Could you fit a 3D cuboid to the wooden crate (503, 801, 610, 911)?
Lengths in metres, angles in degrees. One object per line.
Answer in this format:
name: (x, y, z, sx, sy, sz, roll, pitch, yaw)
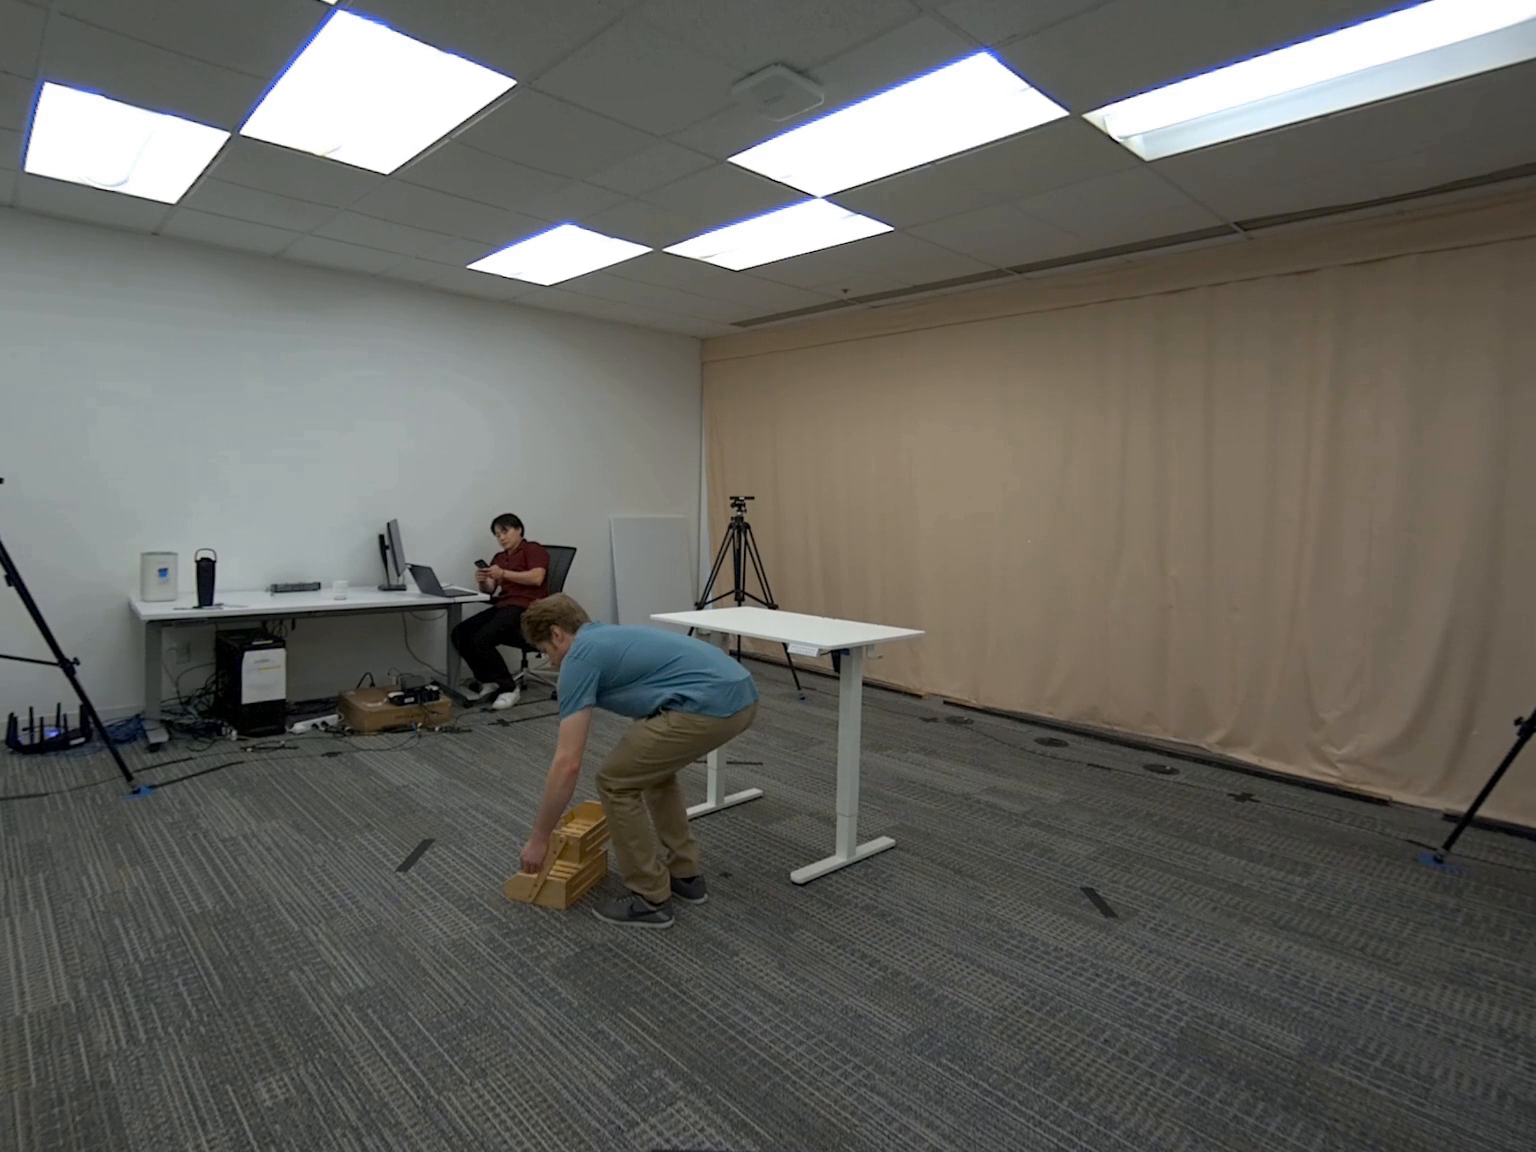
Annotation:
wooden crate: (-0.730, 0.969, 2.977, 0.306, 0.272, 0.321, 4, 5, 17)
